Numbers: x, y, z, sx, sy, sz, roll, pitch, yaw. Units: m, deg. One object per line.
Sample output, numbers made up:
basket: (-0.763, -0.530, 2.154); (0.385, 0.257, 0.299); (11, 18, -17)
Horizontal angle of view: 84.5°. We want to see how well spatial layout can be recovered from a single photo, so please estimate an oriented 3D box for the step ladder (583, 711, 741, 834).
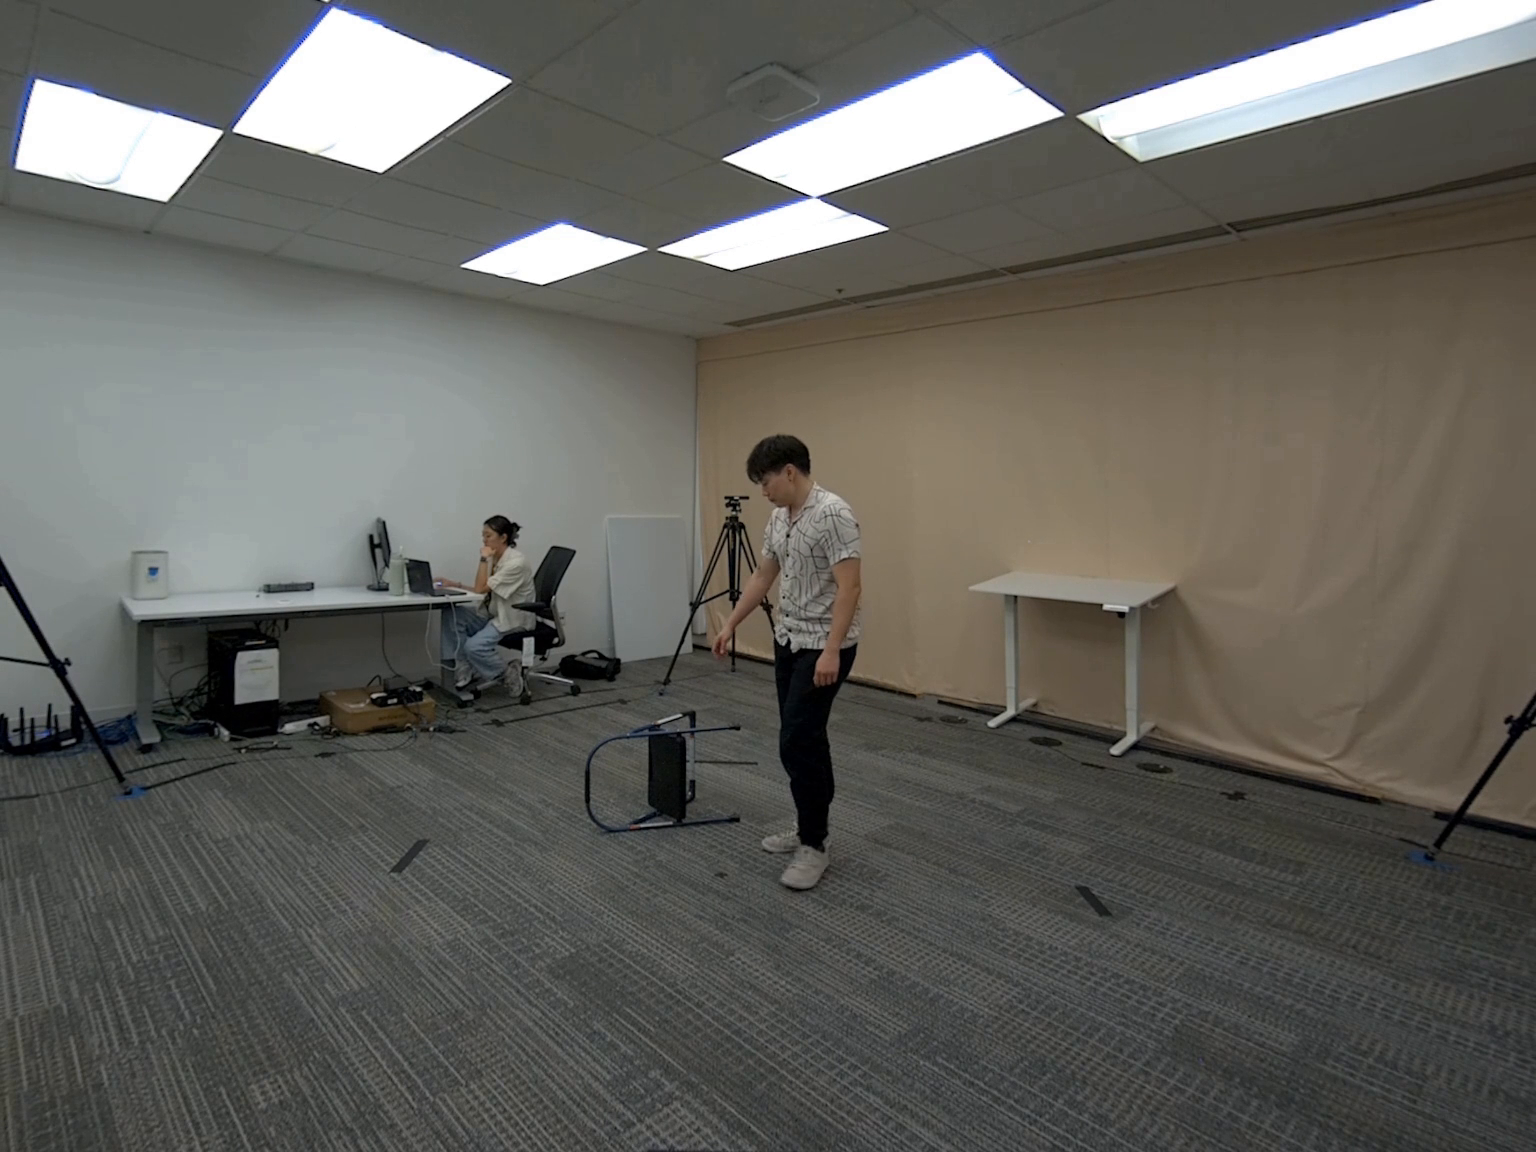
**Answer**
step ladder: (-0.469, 0.845, 3.561); (0.592, 0.430, 0.358); (-2, 4, -40)
